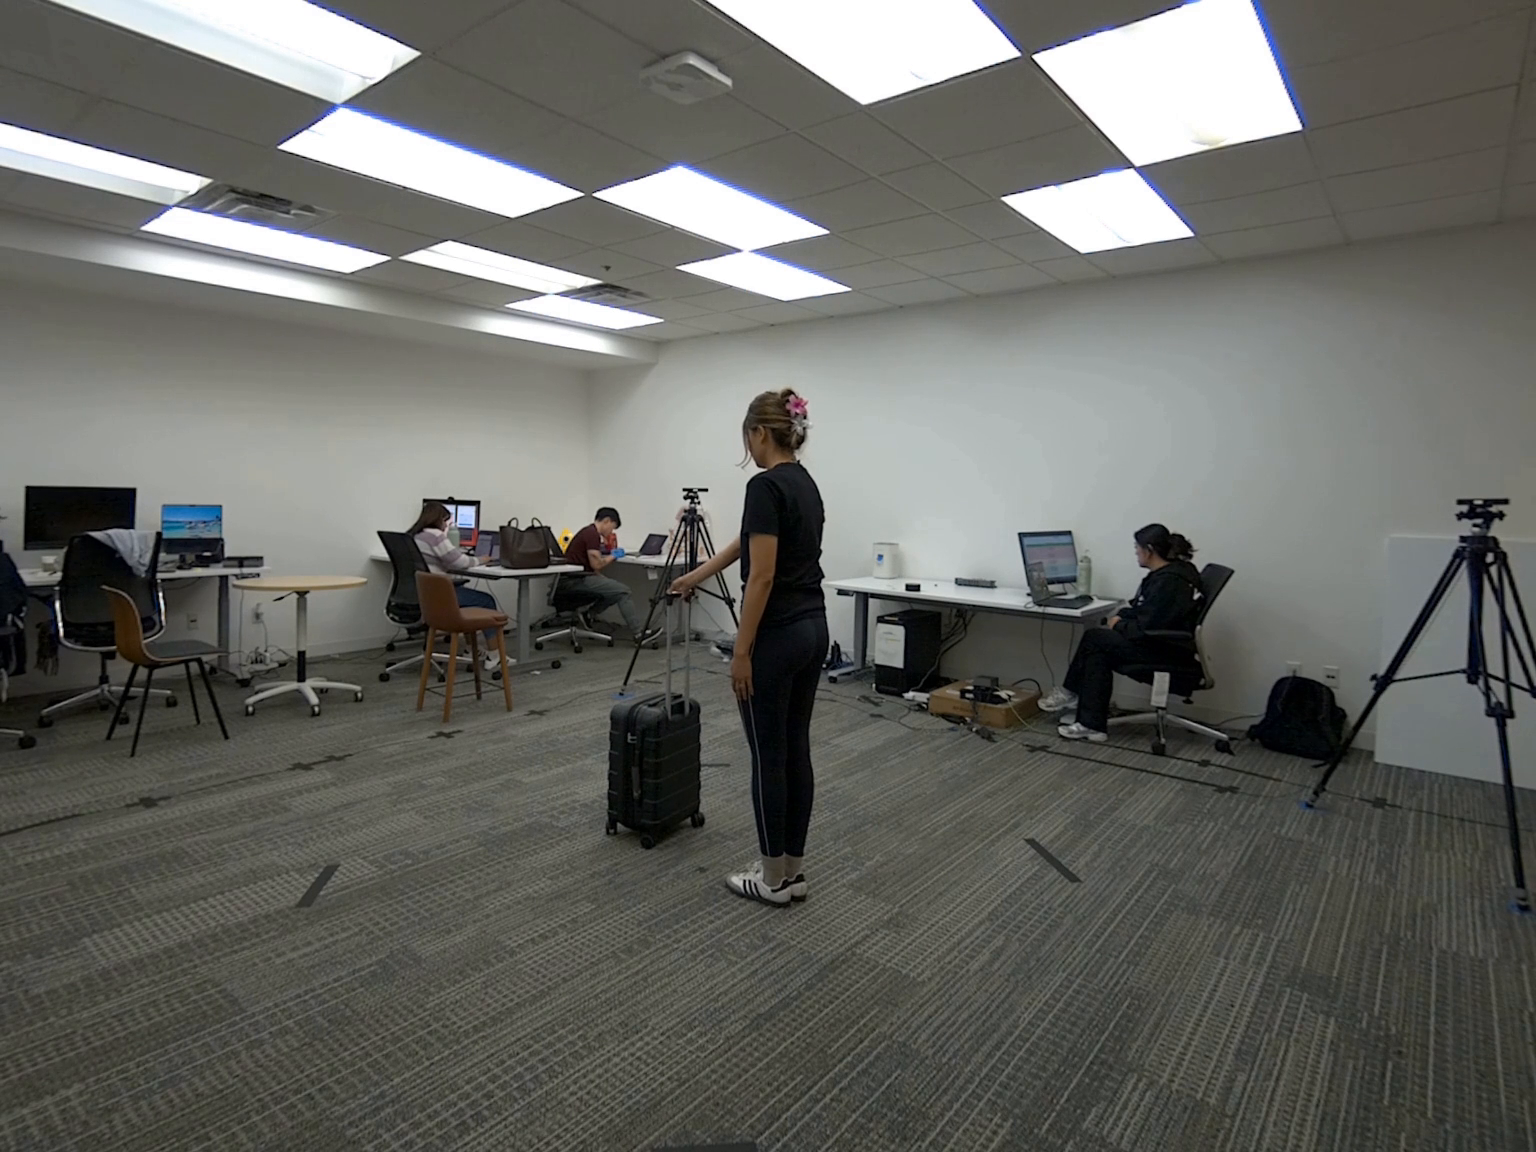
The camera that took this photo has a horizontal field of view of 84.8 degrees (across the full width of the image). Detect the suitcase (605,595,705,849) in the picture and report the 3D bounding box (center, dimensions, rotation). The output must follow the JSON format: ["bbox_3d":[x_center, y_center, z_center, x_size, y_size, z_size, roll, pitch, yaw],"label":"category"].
[{"bbox_3d":[-0.473,0.559,3.449,0.265,0.976,0.374,1,3,32],"label":"suitcase"}]
